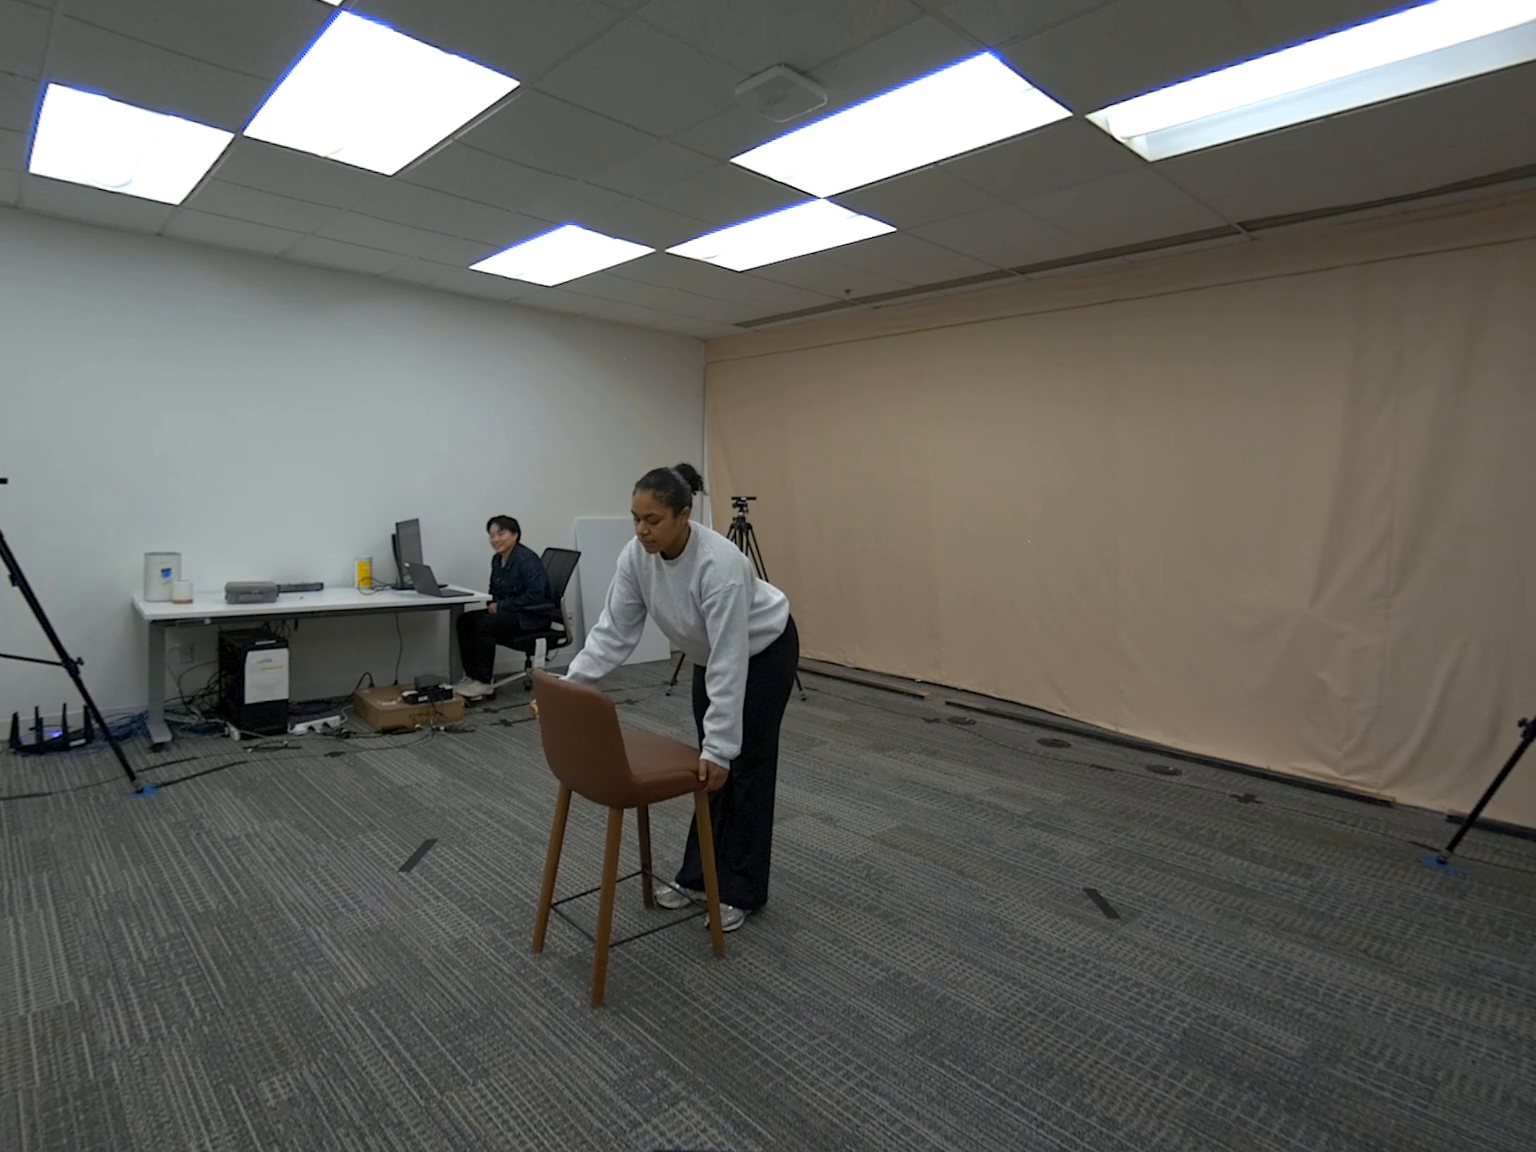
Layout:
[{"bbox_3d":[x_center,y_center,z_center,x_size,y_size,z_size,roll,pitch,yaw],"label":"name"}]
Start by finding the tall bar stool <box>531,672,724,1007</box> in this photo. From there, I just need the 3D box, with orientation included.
[{"bbox_3d":[-0.433,0.717,2.536,0.457,0.886,0.468,-5,6,-40],"label":"tall bar stool"}]
